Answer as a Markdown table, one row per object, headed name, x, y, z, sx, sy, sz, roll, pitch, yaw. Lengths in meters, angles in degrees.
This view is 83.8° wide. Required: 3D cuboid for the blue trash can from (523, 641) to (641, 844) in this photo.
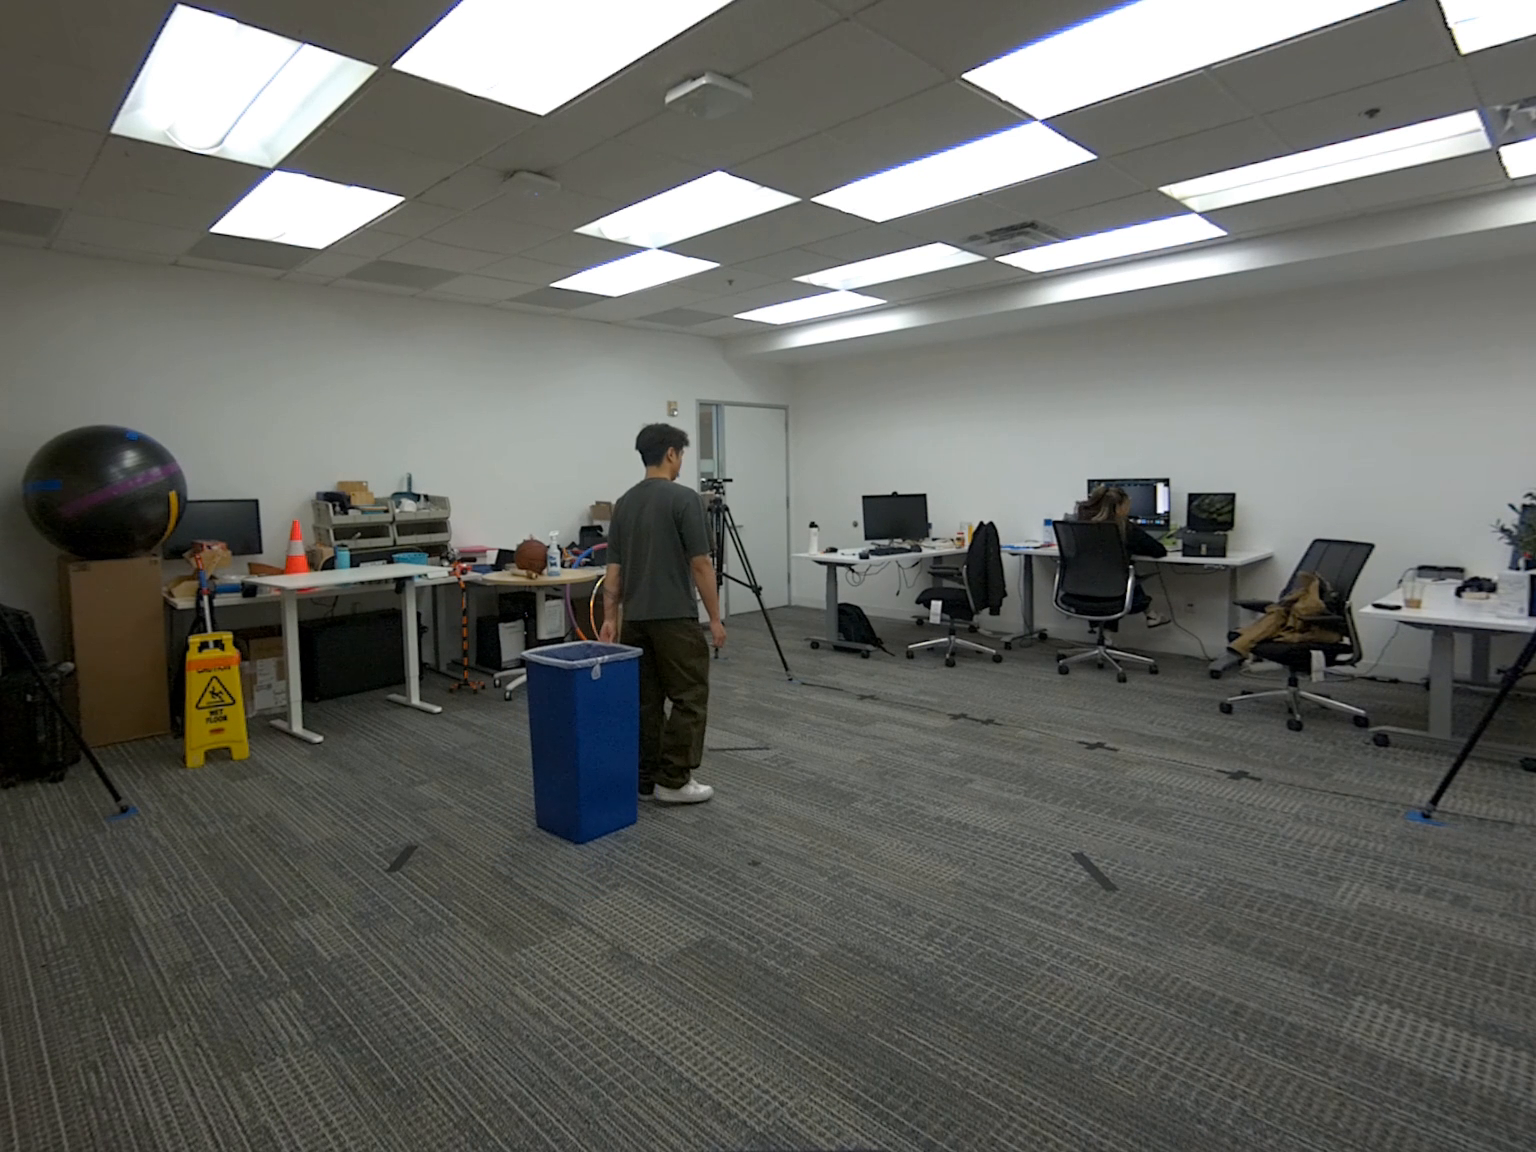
| name | x | y | z | sx | sy | sz | roll | pitch | yaw |
| --- | --- | --- | --- | --- | --- | --- | --- | --- | --- |
| blue trash can | -0.758 | 0.656 | 3.480 | 0.385 | 0.711 | 0.368 | 3 | 5 | 41 |
